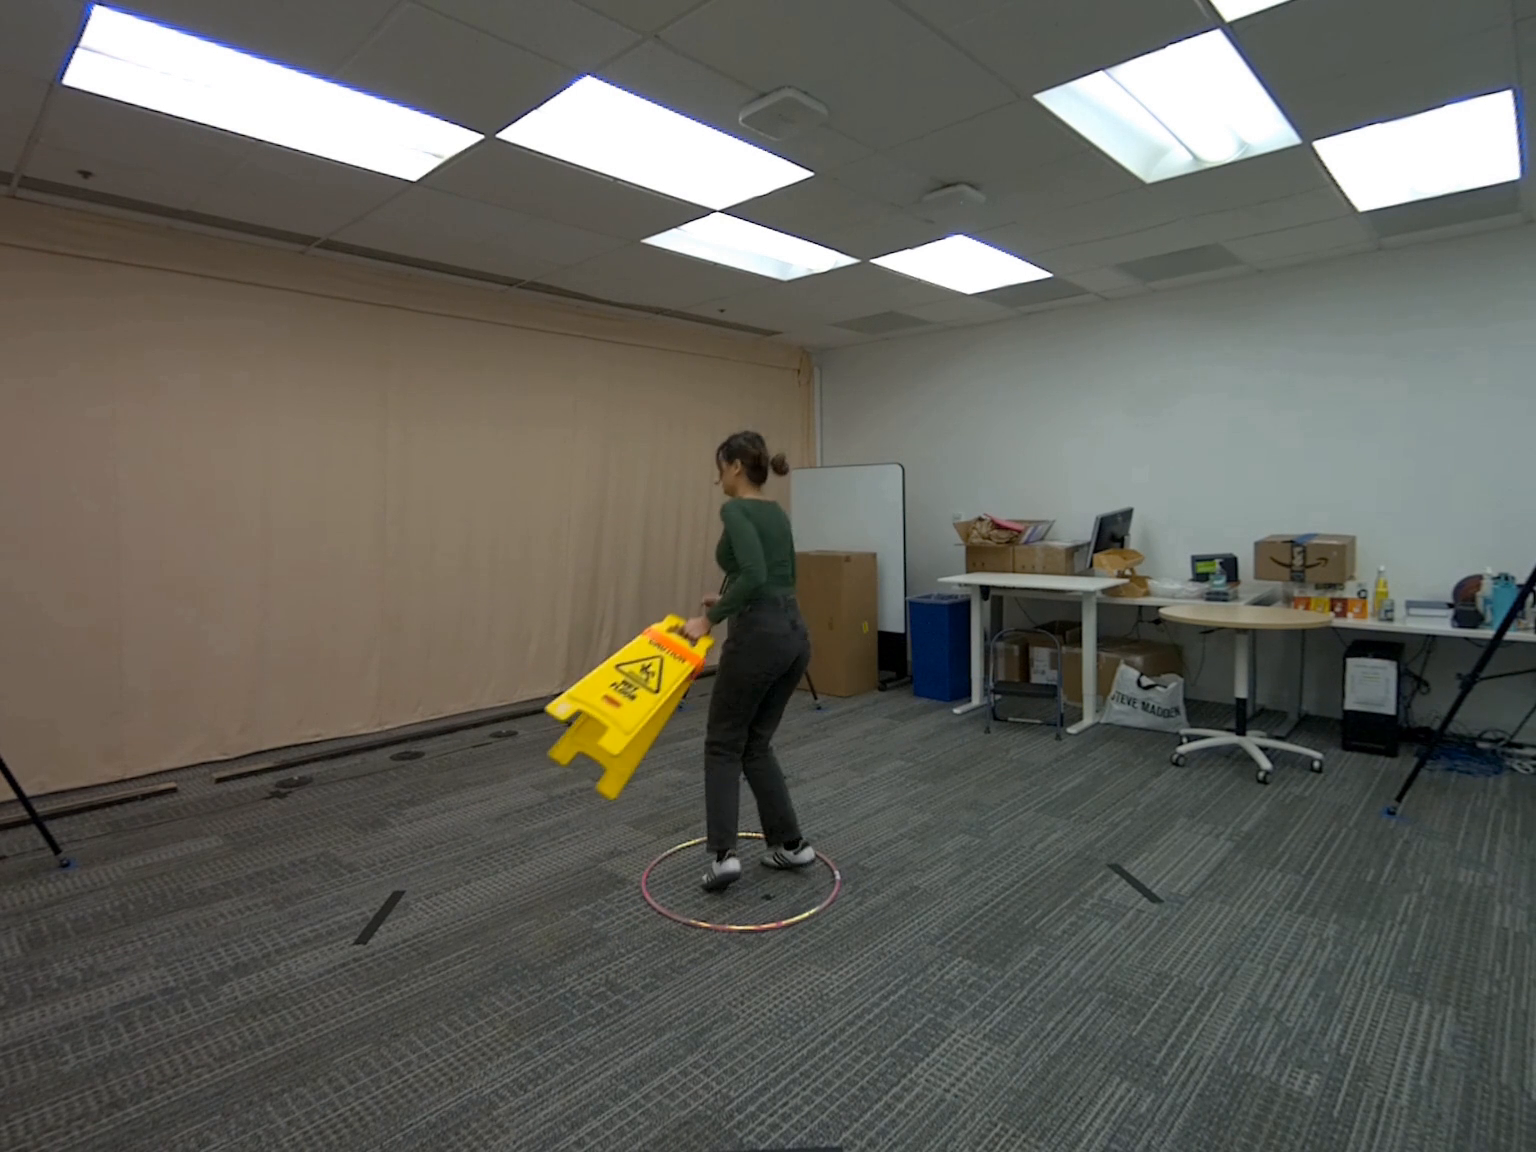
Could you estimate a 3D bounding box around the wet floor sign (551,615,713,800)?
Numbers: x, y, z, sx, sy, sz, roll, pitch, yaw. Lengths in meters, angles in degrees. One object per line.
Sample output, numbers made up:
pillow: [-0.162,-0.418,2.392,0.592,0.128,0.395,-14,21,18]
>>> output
wet floor sign: [-0.390,0.392,2.893,0.288,0.286,0.641,28,50,15]
